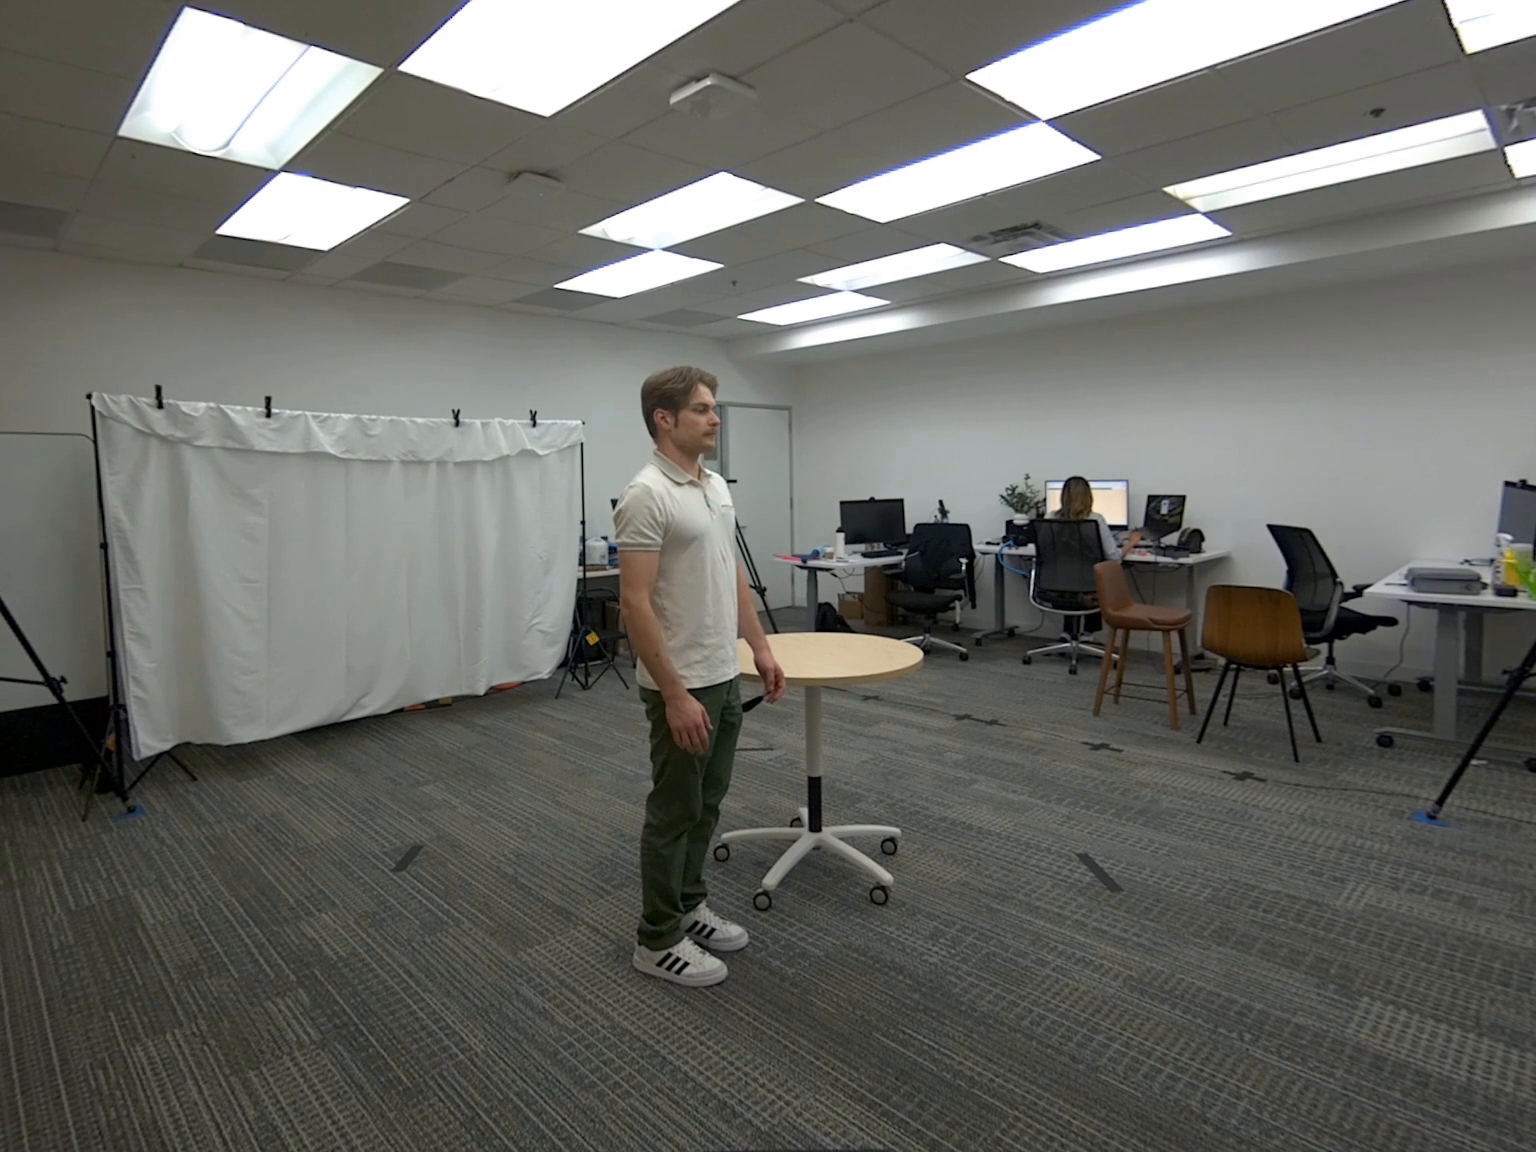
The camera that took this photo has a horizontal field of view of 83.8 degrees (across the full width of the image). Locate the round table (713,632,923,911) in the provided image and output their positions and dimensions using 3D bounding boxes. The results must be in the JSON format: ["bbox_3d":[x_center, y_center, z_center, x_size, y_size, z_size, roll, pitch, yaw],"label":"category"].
[{"bbox_3d":[0.177,0.658,3.041,0.784,0.783,0.789,-2,5,-2],"label":"round table"}]
